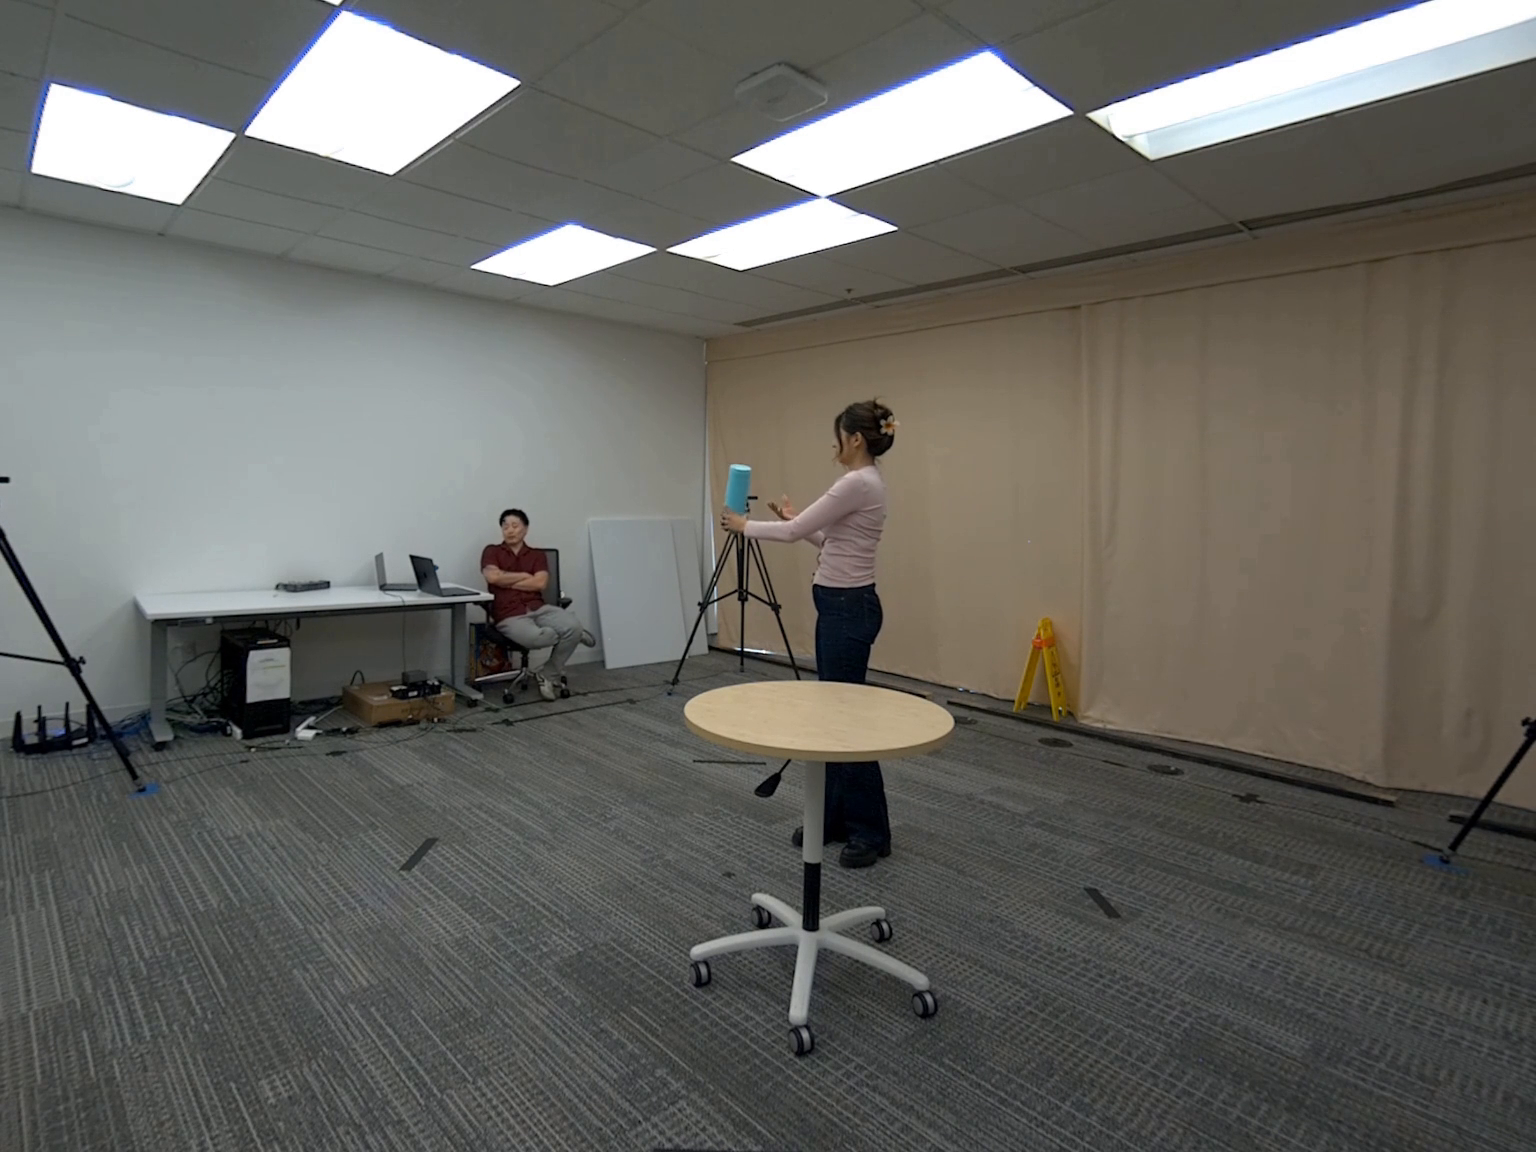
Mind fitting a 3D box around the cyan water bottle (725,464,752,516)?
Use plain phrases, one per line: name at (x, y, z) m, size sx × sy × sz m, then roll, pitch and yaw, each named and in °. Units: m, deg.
cyan water bottle at (-0.129, -0.307, 3.454) m, size 0.092 × 0.280 × 0.093 m, roll 8°, pitch 17°, yaw -4°
